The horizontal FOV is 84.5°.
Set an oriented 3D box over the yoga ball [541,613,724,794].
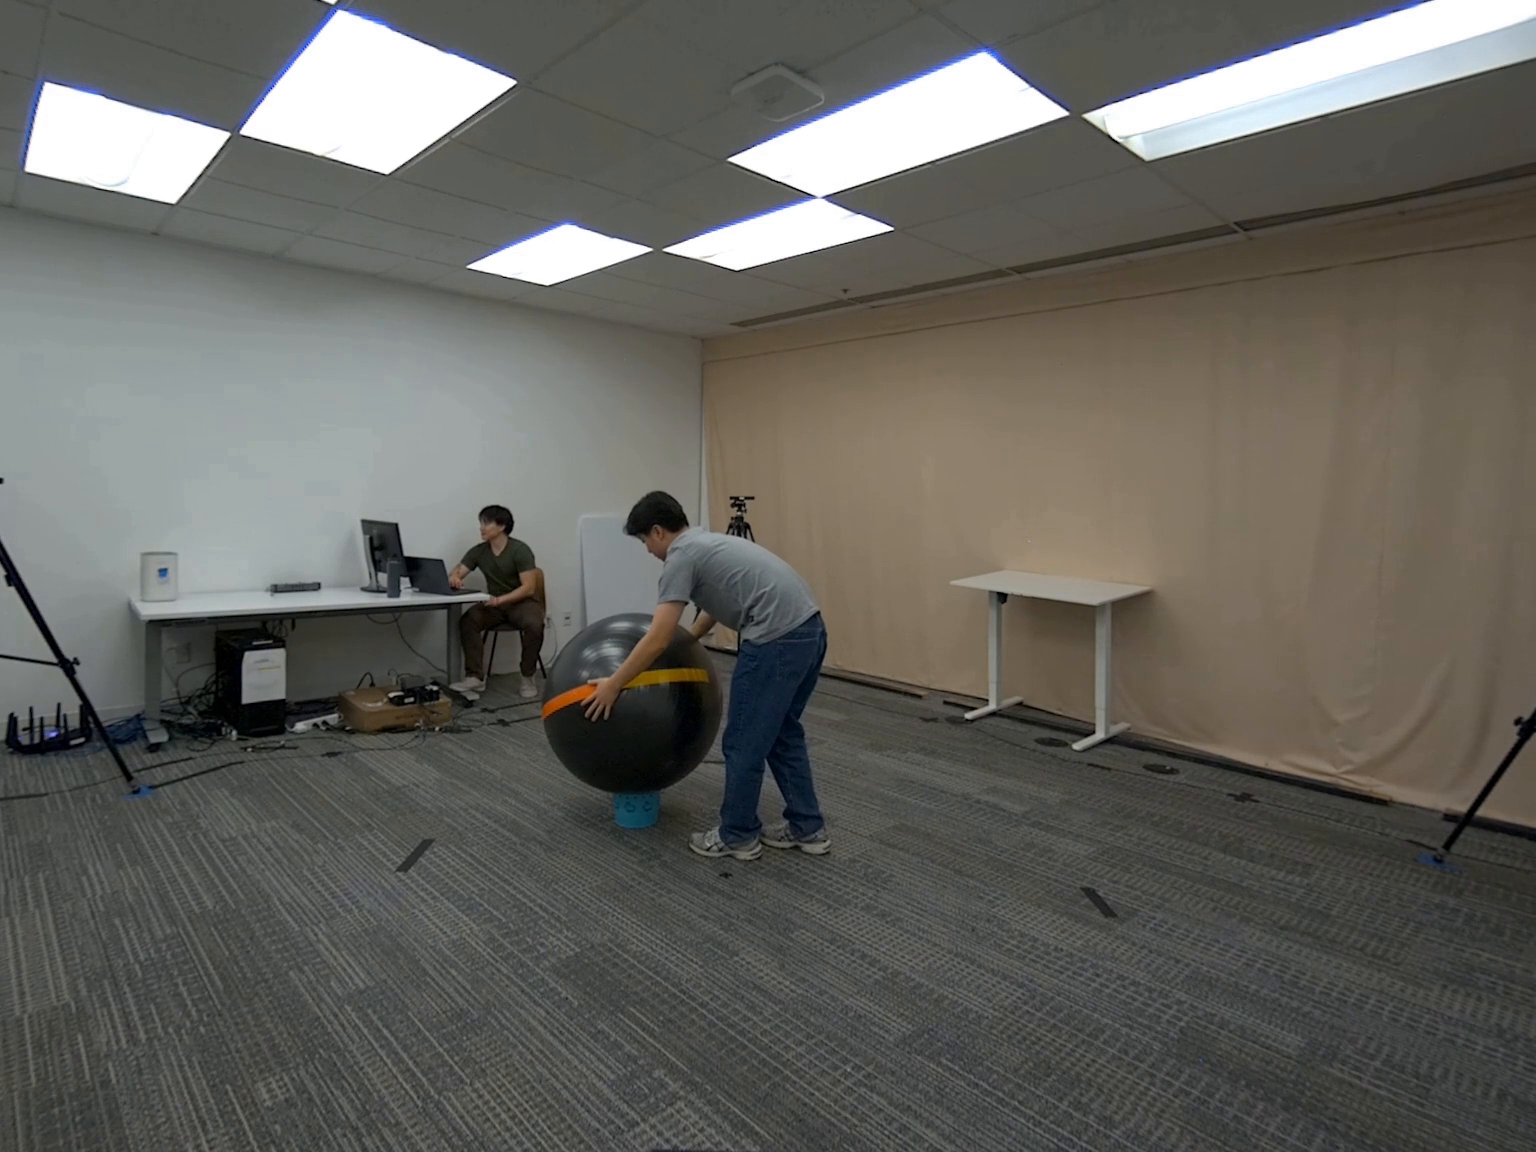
[{"bbox_3d":[-0.579,0.544,3.579,0.757,0.756,0.761,1,4,-1],"label":"yoga ball"}]
